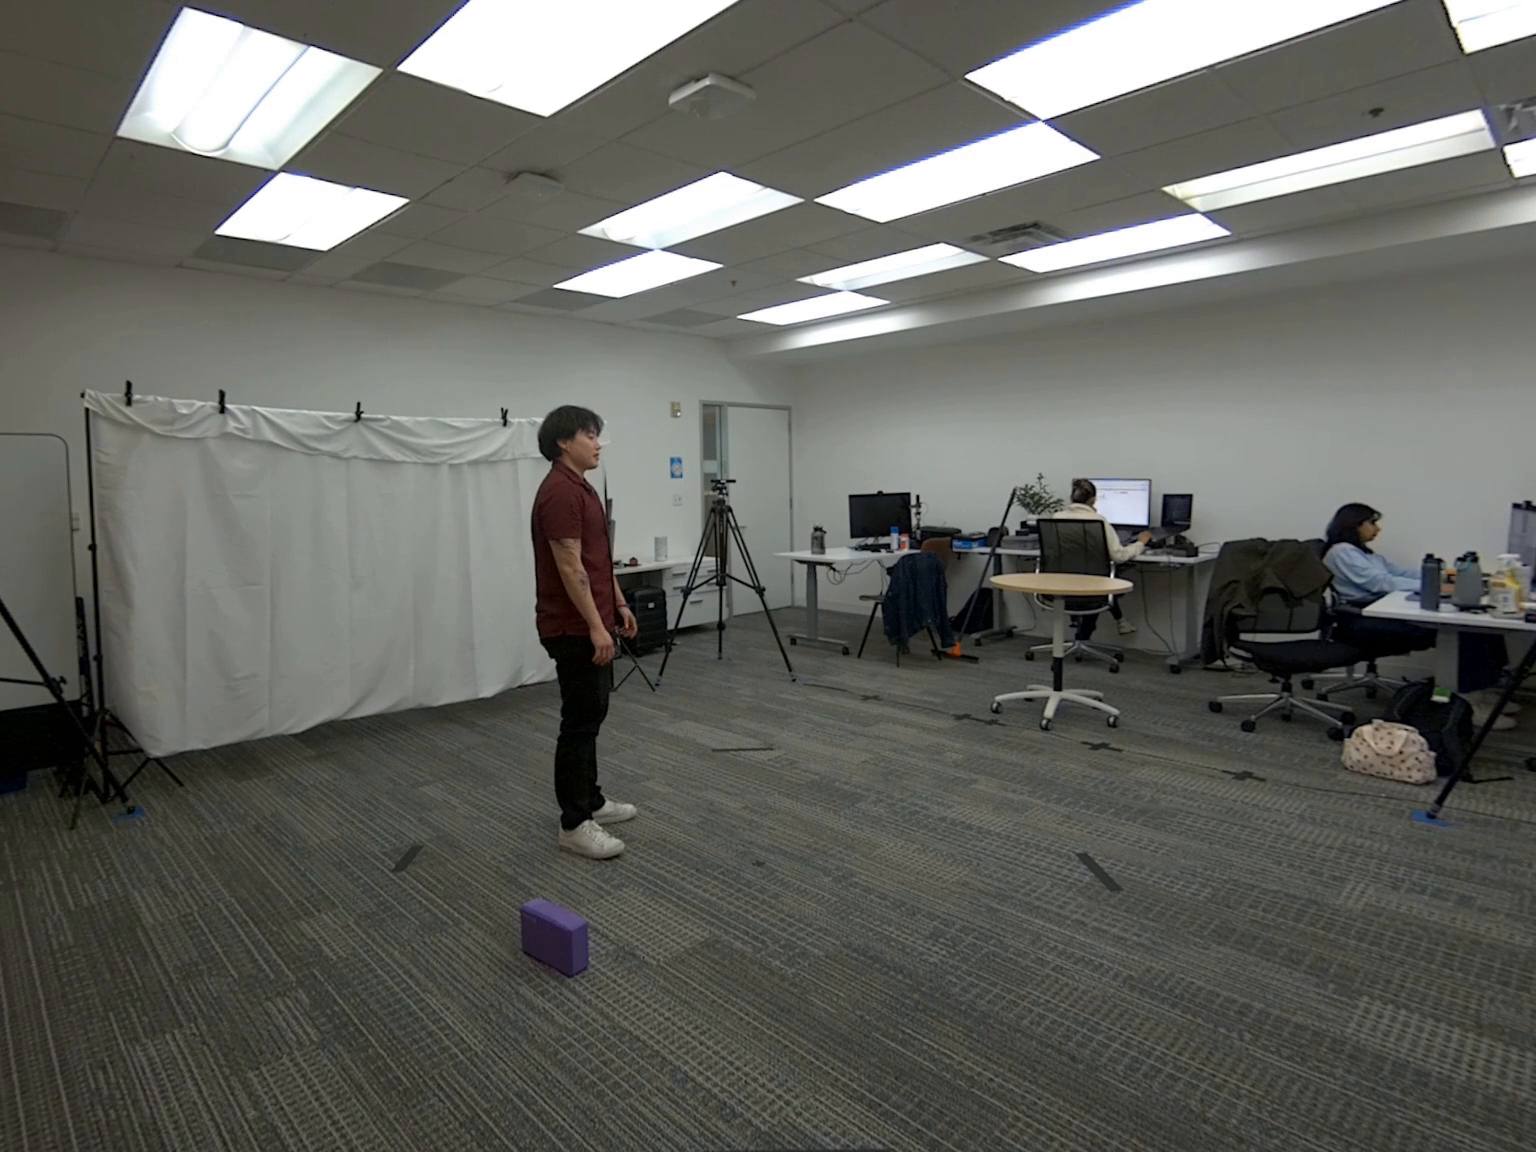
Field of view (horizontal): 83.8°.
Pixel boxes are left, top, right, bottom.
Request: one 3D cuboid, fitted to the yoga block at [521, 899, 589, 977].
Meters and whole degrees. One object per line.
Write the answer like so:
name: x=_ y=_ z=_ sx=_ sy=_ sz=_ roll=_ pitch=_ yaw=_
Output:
yoga block: x=-0.622 y=1.054 z=2.508 sx=0.236 sy=0.148 sz=0.074 roll=3 pitch=4 yaw=39
